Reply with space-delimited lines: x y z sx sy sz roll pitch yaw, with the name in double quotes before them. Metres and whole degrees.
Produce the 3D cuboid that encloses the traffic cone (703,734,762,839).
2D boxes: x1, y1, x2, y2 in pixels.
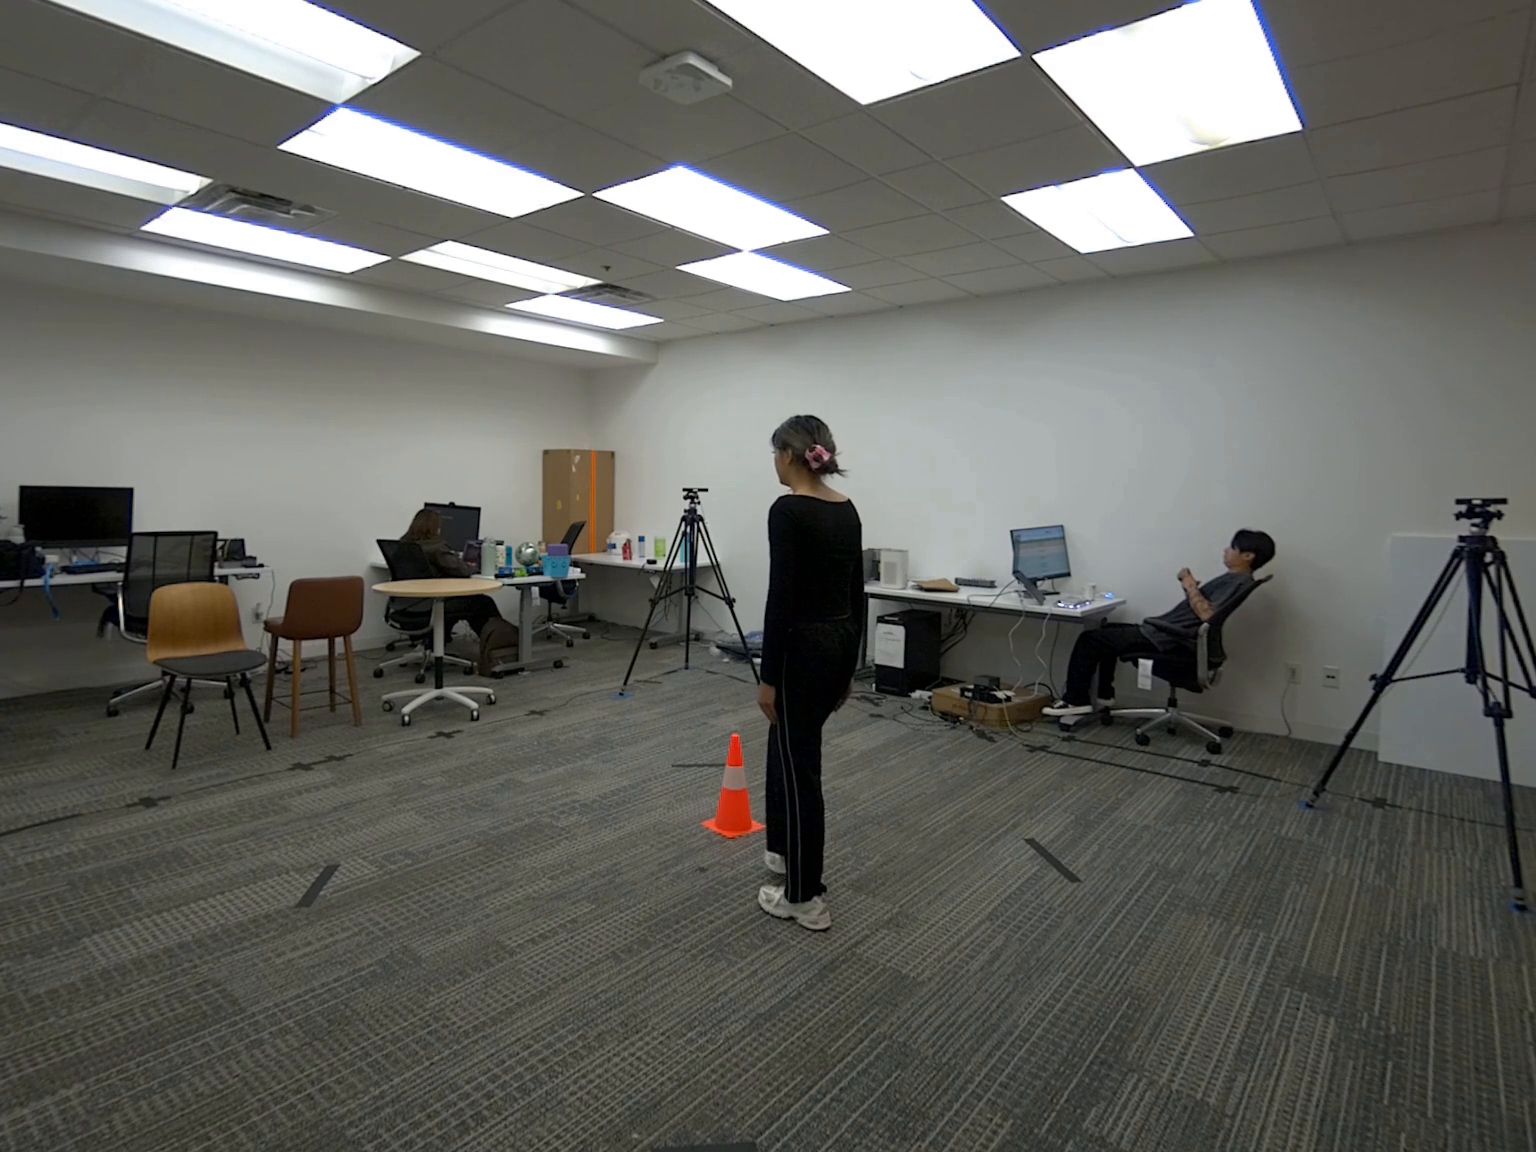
"traffic cone" -0.154 0.844 3.518 0.199 0.382 0.210 -2 4 -39
